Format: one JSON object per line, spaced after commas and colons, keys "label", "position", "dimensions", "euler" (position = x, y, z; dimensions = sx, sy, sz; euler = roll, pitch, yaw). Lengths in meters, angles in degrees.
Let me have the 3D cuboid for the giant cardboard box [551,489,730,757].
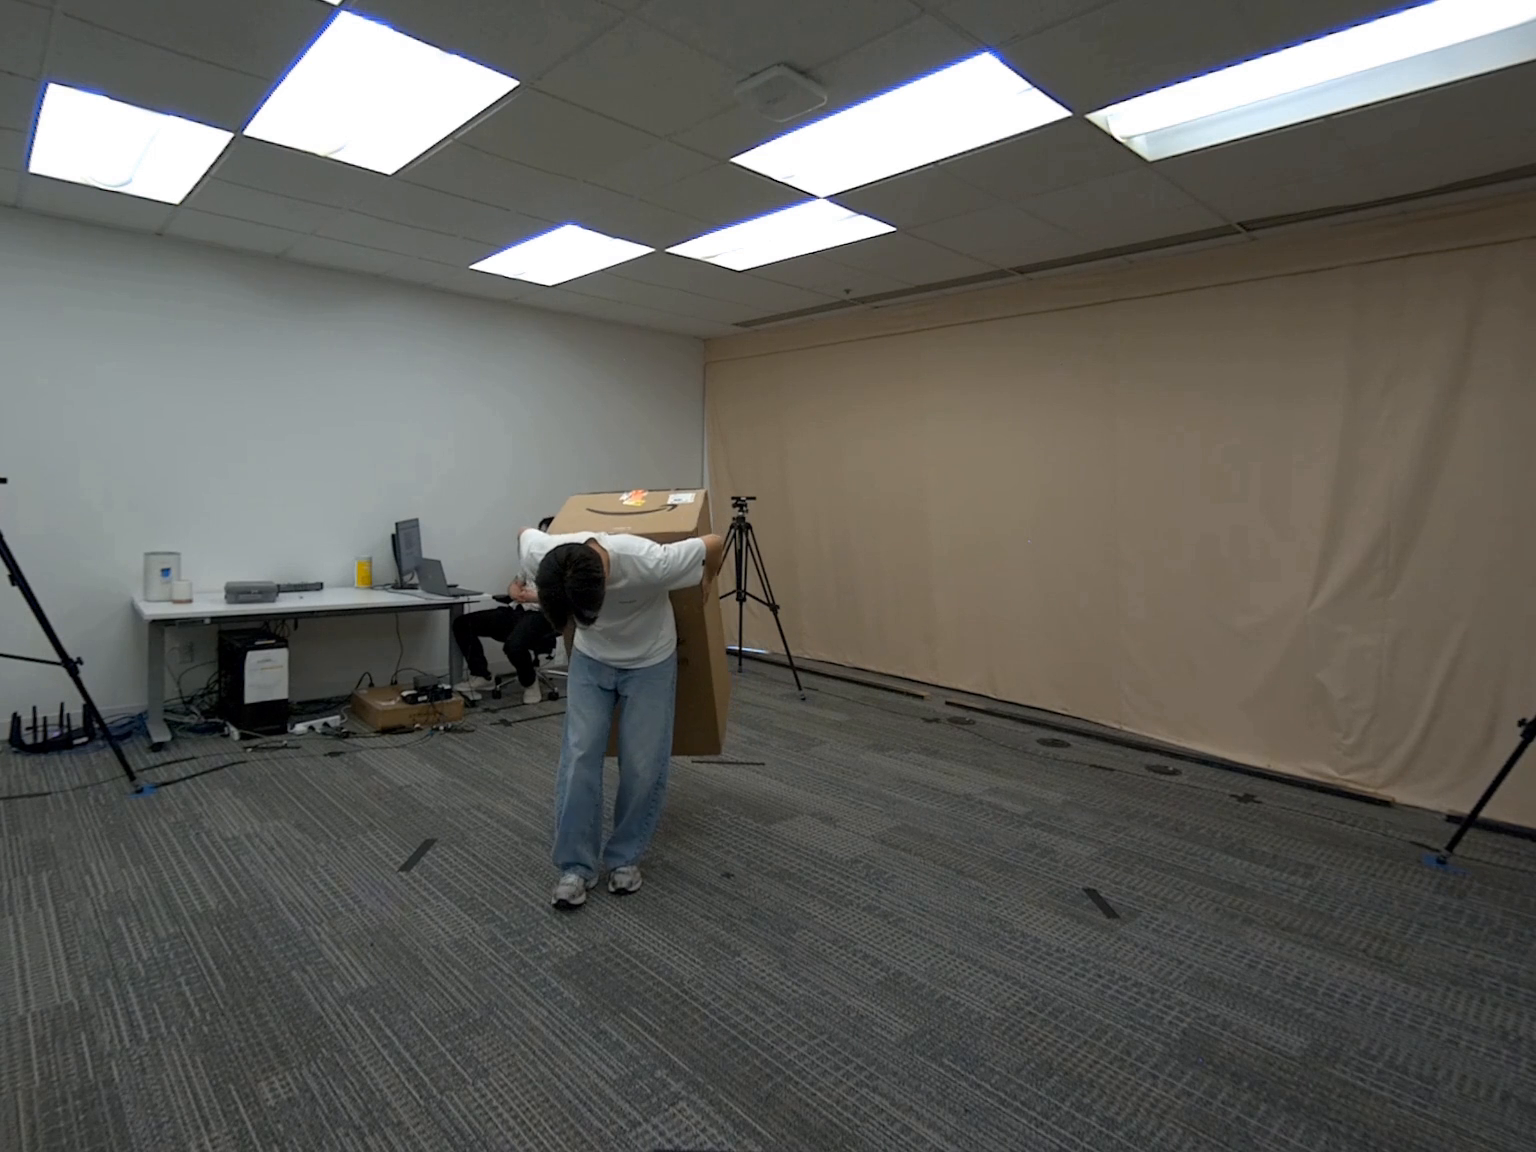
{"label": "giant cardboard box", "position": [-0.510, 0.206, 3.476], "dimensions": [0.580, 1.007, 0.432], "euler": [-1, 25, 5]}
